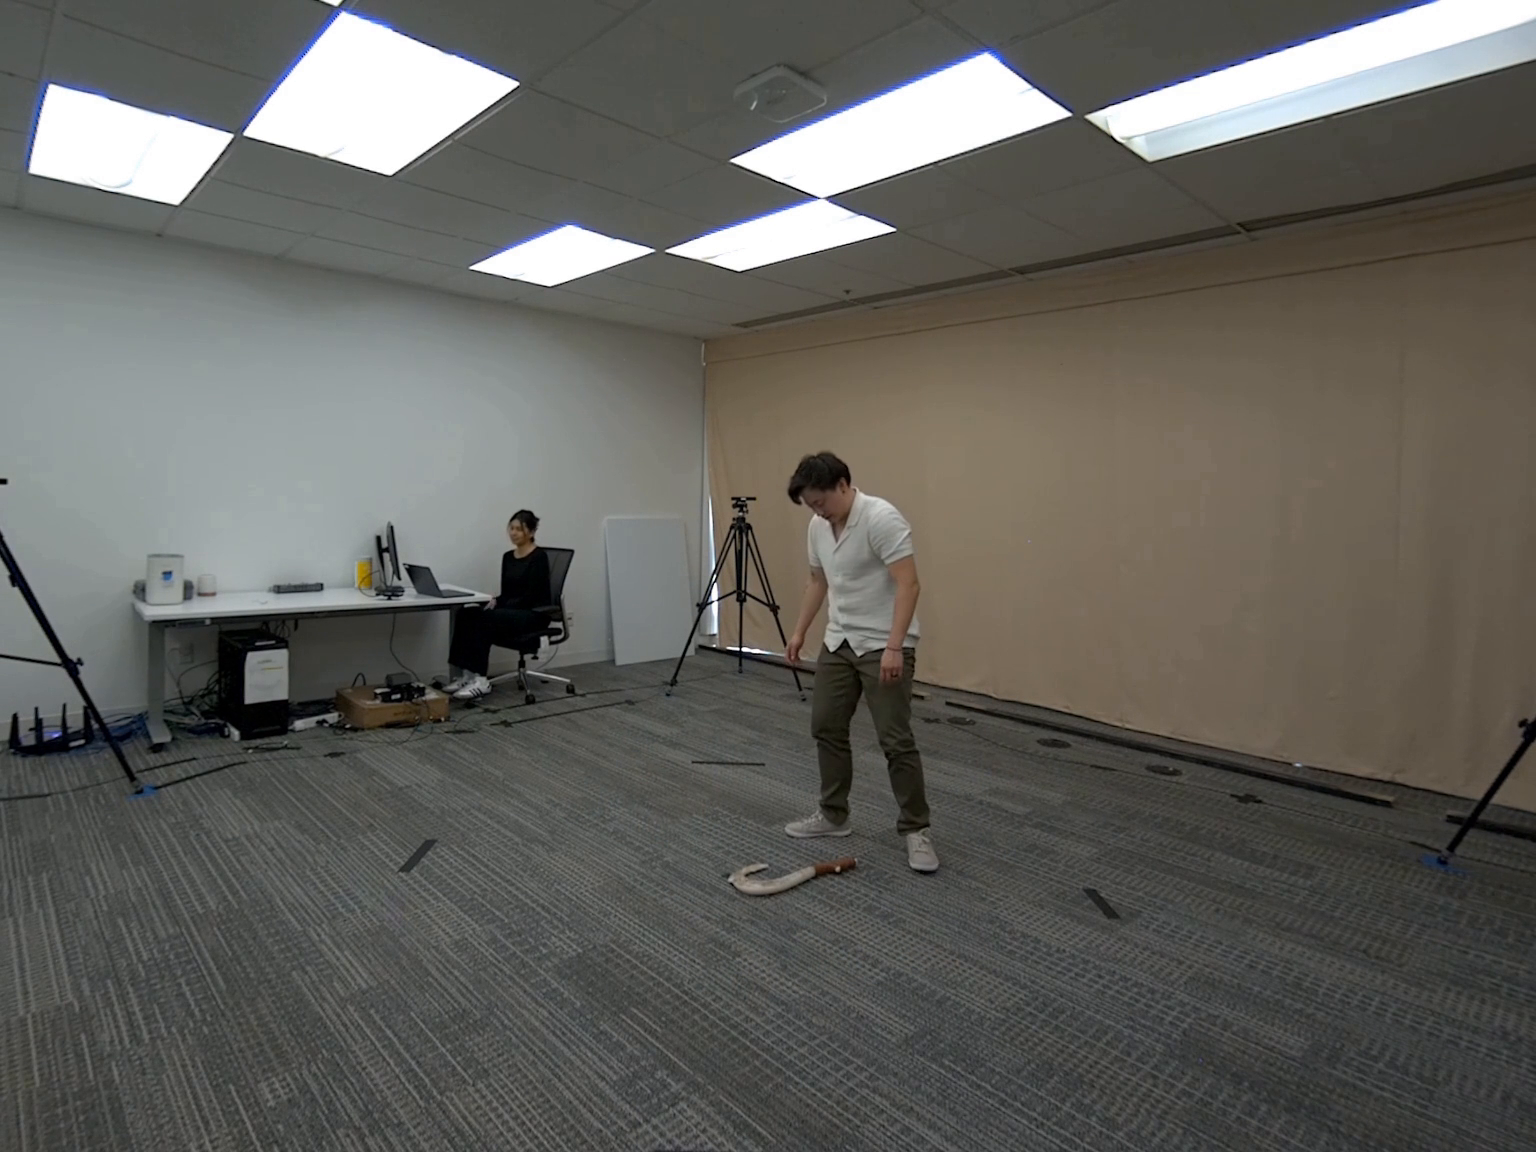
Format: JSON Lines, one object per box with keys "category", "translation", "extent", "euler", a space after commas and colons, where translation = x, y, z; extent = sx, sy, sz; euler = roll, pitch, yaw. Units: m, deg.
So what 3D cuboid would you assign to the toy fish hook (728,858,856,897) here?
{"category": "toy fish hook", "translation": [0.086, 1.087, 3.117], "extent": [0.496, 0.048, 0.230], "euler": [-1, 6, -31]}
